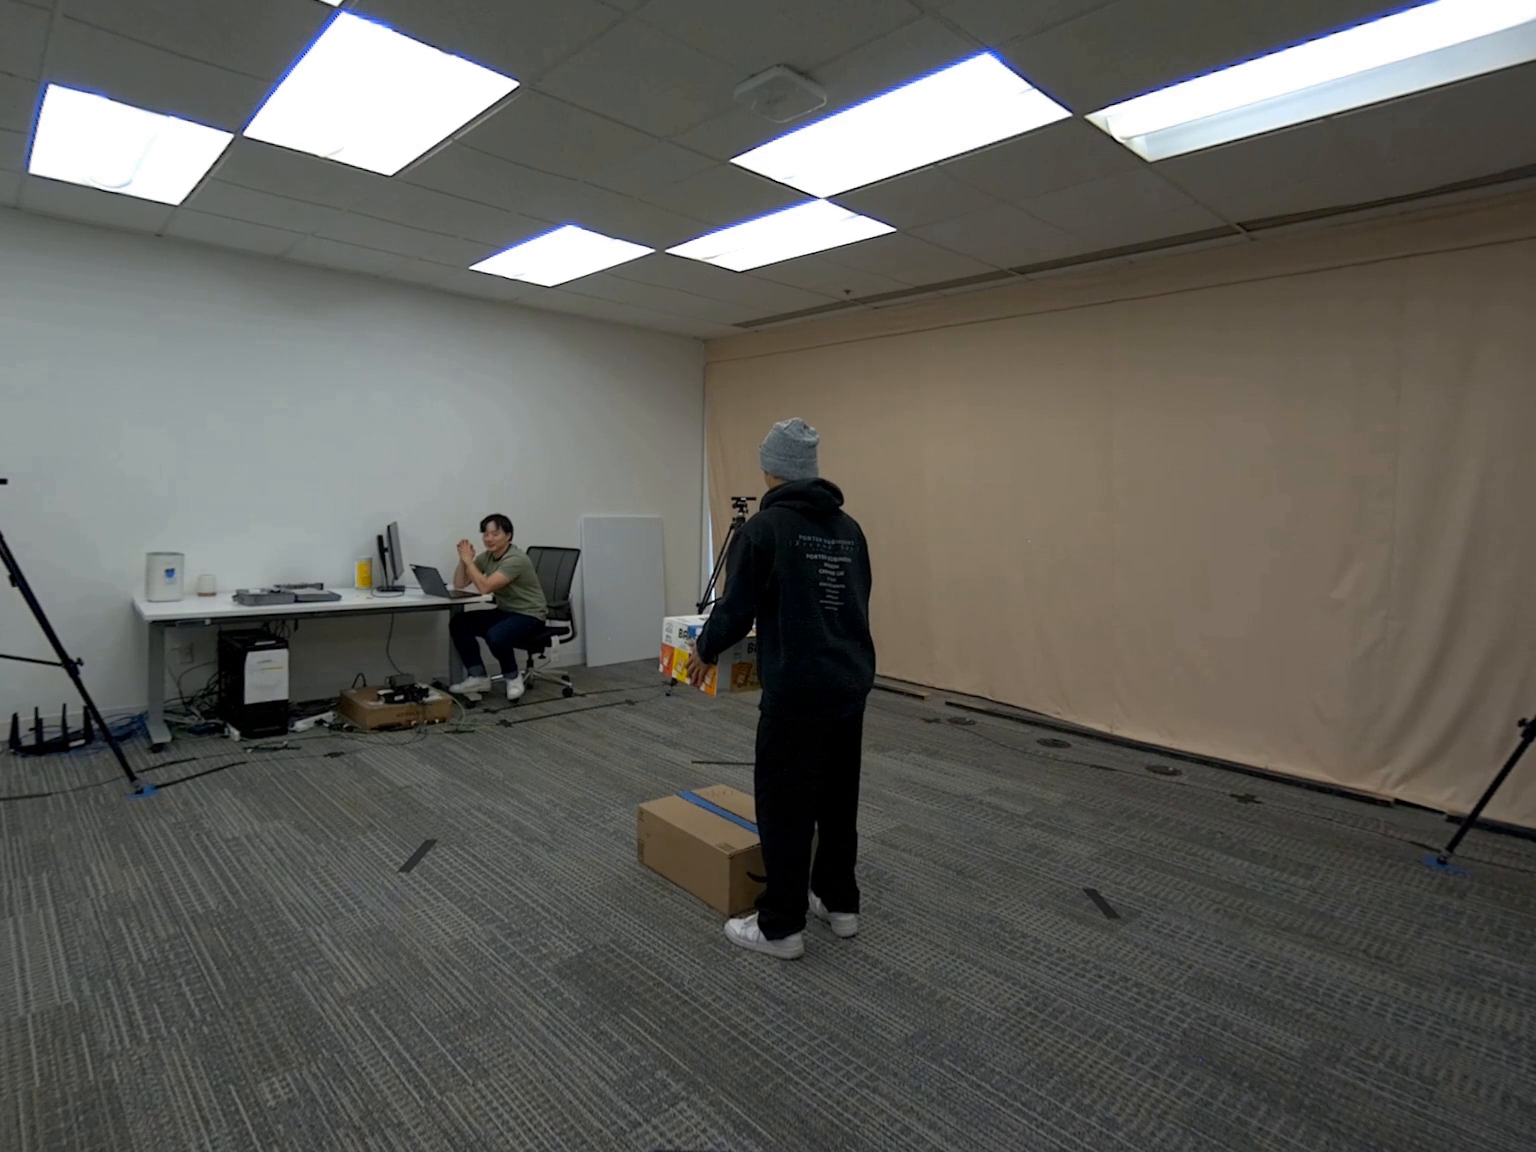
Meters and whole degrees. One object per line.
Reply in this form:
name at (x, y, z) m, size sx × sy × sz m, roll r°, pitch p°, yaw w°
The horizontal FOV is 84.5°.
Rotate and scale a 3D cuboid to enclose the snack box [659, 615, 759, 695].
snack box at (-0.135, 0.274, 3.073) m, size 0.396 × 0.205 × 0.350 m, roll -1°, pitch 11°, yaw -40°
